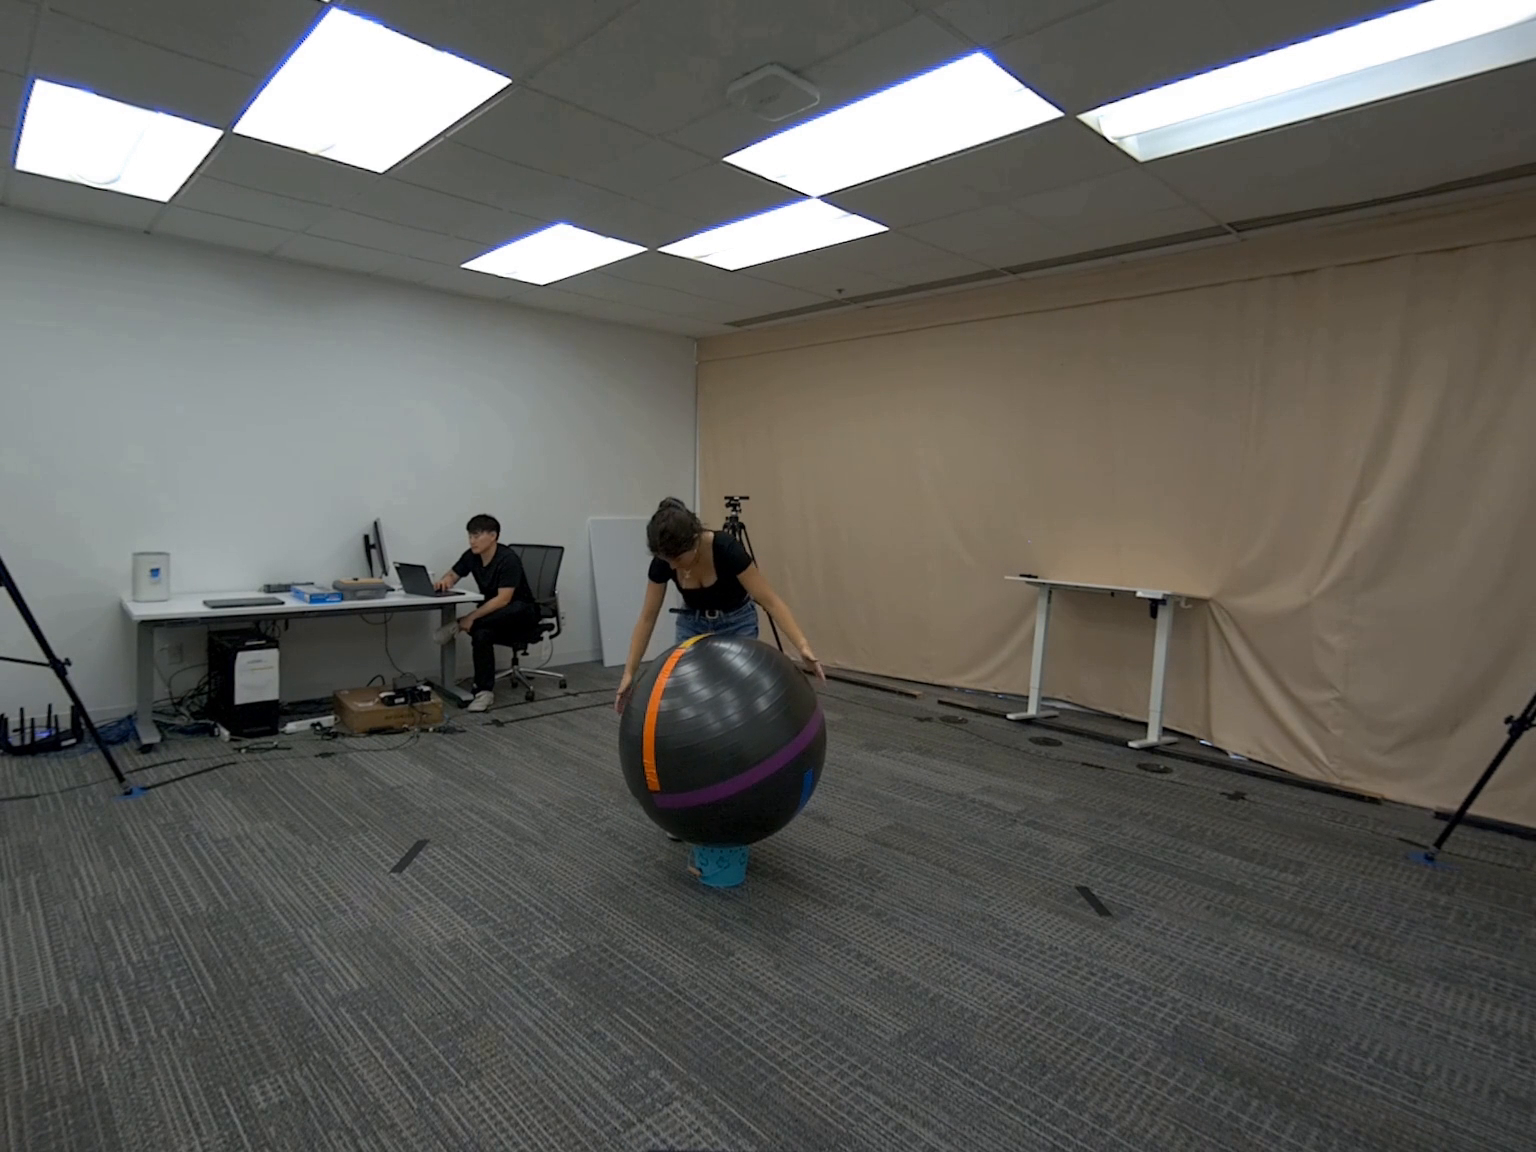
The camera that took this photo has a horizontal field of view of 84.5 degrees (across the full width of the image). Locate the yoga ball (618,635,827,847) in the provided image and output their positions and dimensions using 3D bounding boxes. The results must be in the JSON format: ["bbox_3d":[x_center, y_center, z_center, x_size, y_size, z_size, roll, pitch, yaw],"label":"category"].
[{"bbox_3d":[-0.161,0.598,3.065,0.757,0.756,0.761,1,4,-1],"label":"yoga ball"}]
